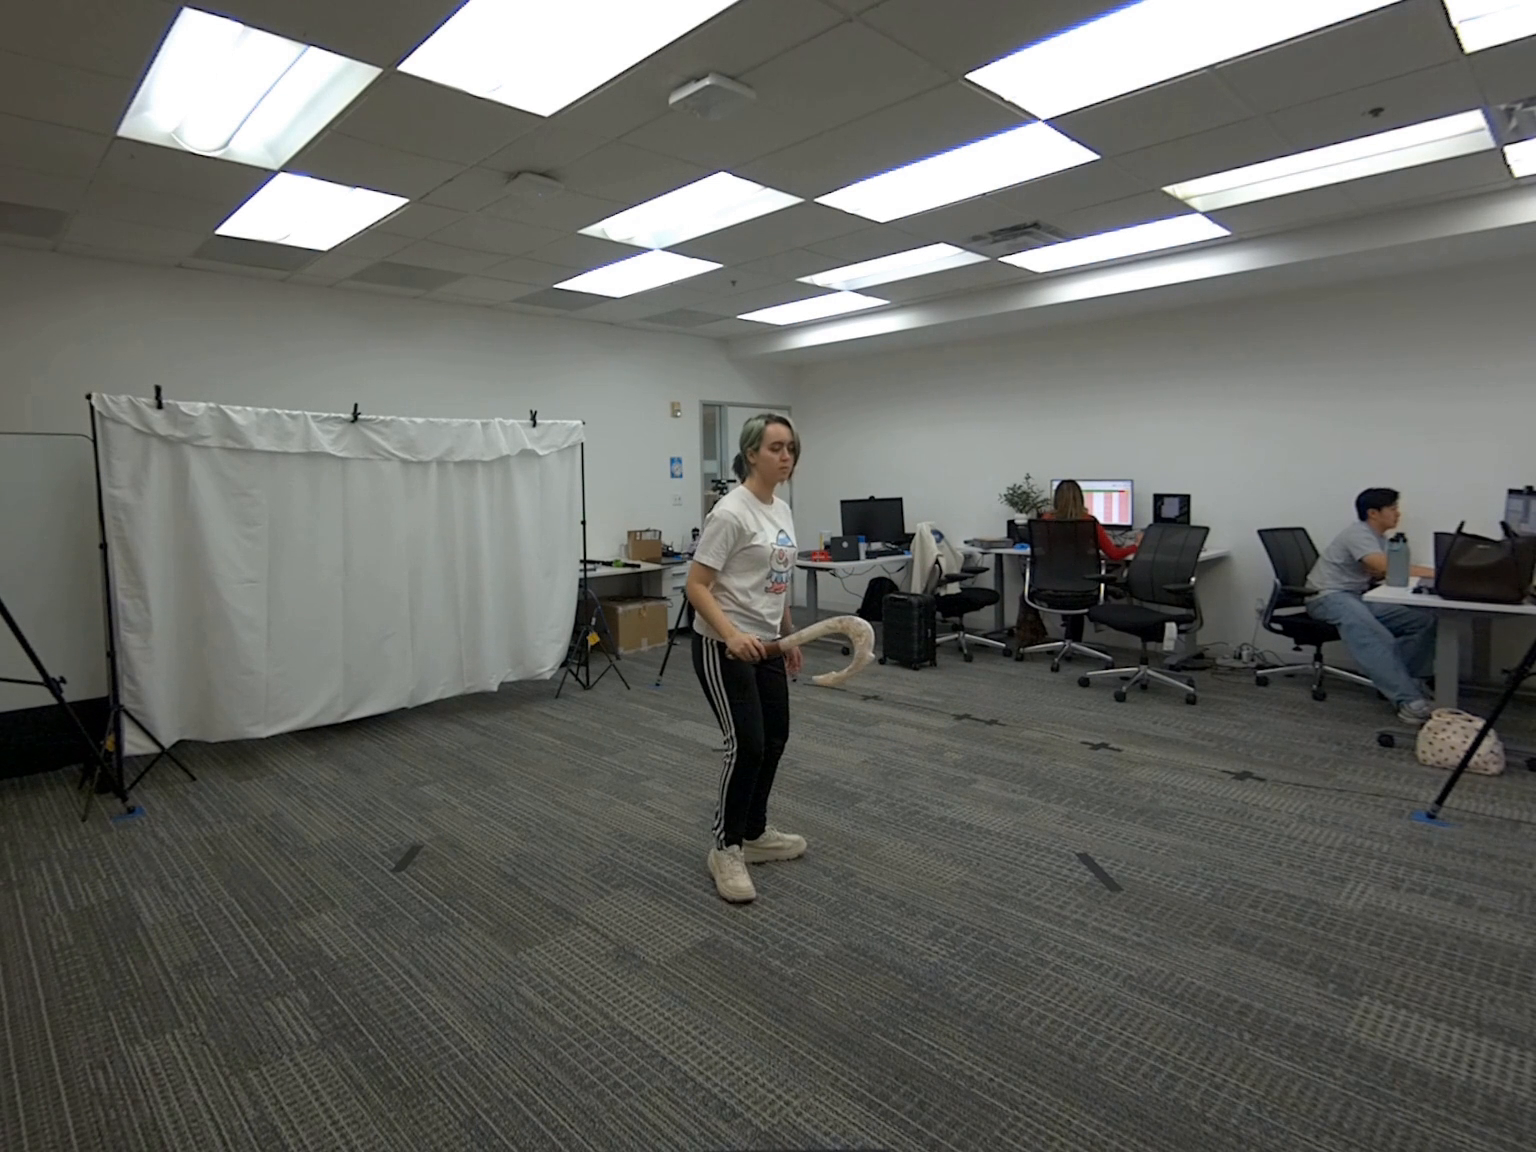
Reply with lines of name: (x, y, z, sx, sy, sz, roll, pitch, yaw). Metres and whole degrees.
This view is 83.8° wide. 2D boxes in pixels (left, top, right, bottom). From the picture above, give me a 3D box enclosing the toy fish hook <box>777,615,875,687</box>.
toy fish hook: (0.093, 0.250, 2.635, 0.515, 0.230, 0.046, -13, -42, 24)
